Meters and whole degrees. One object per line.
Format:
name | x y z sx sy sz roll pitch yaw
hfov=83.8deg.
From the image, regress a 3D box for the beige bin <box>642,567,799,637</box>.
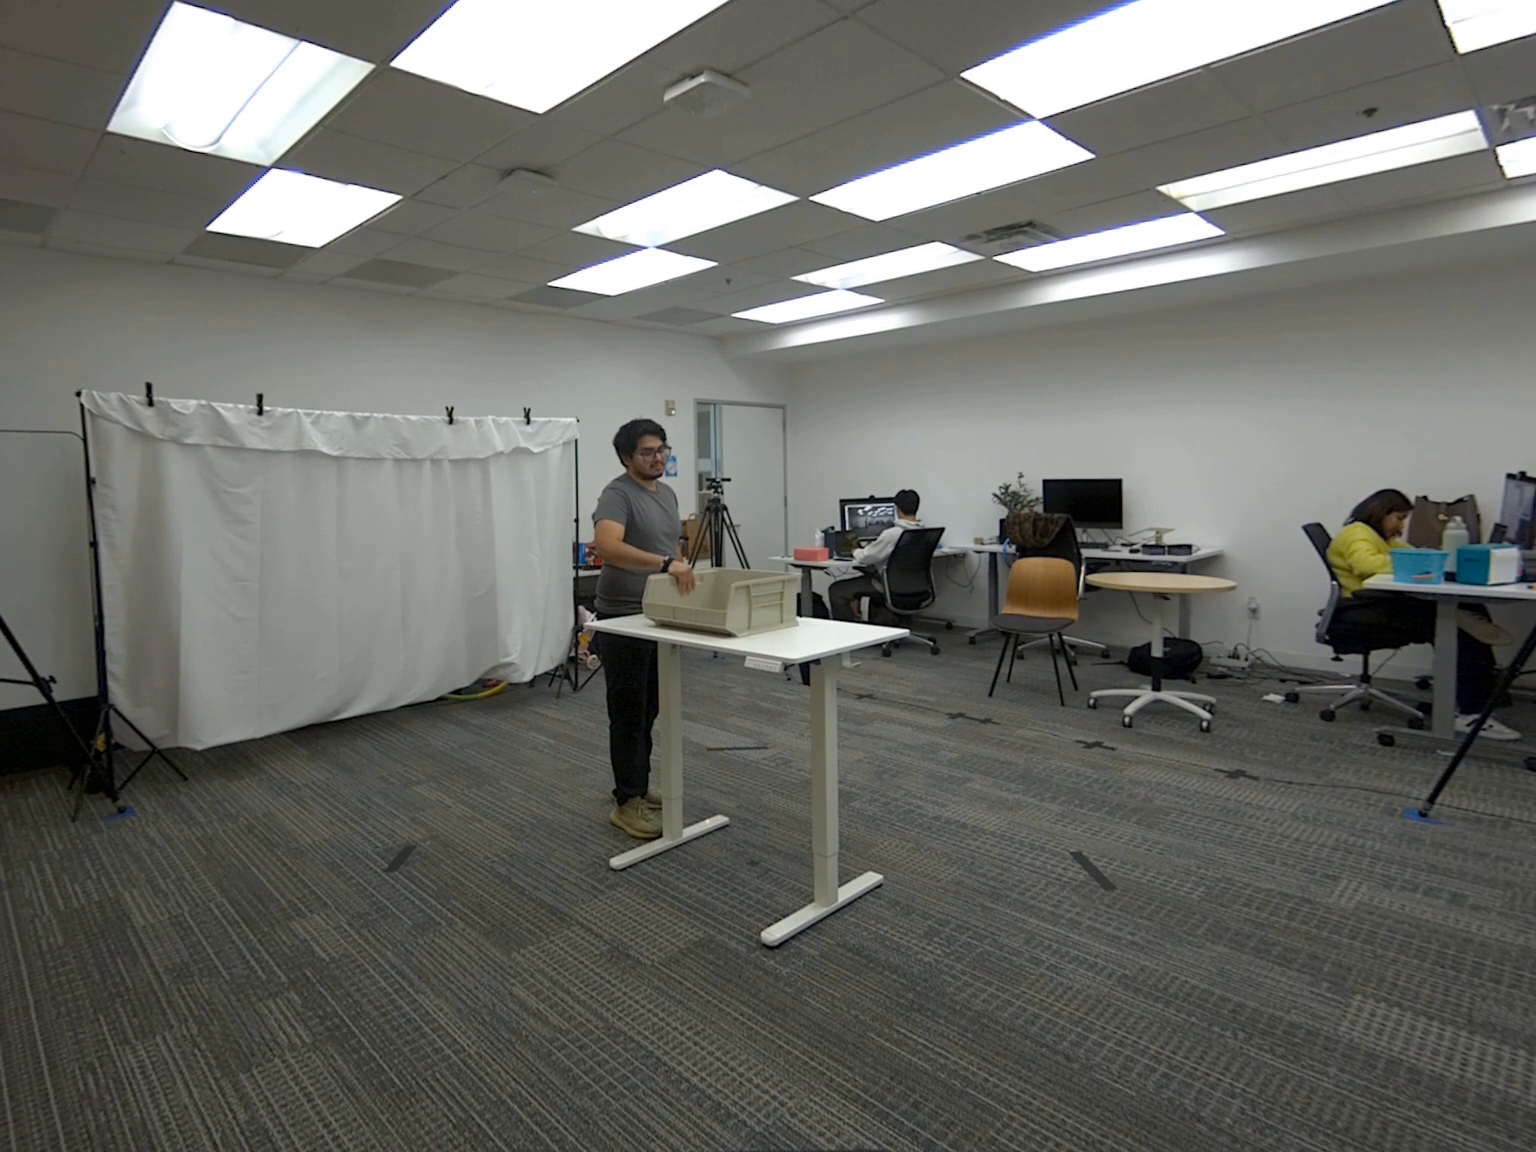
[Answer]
beige bin | -0.160 0.085 2.977 0.435 0.188 0.367 4 6 43
